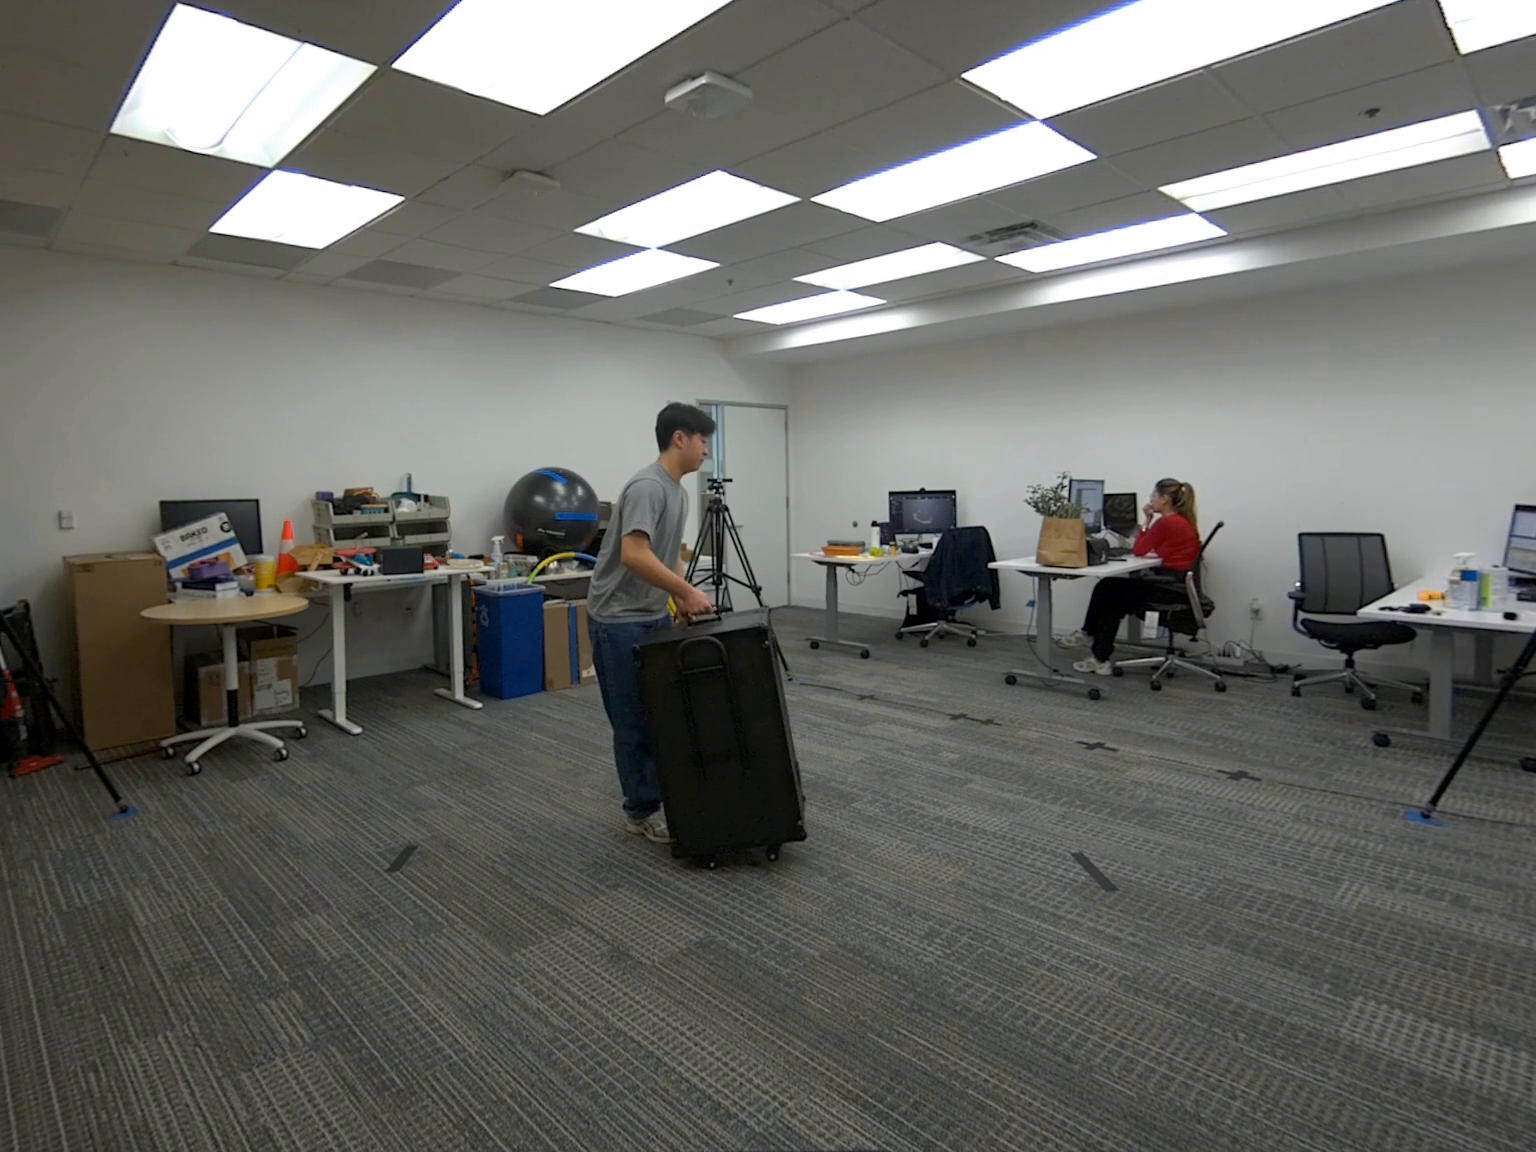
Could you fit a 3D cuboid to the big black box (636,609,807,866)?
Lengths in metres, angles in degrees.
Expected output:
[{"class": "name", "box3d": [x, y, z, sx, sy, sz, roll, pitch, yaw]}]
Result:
[{"class": "big black box", "box3d": [-0.182, 0.542, 3.162, 0.525, 0.857, 0.396, -8, 5, 7]}]
